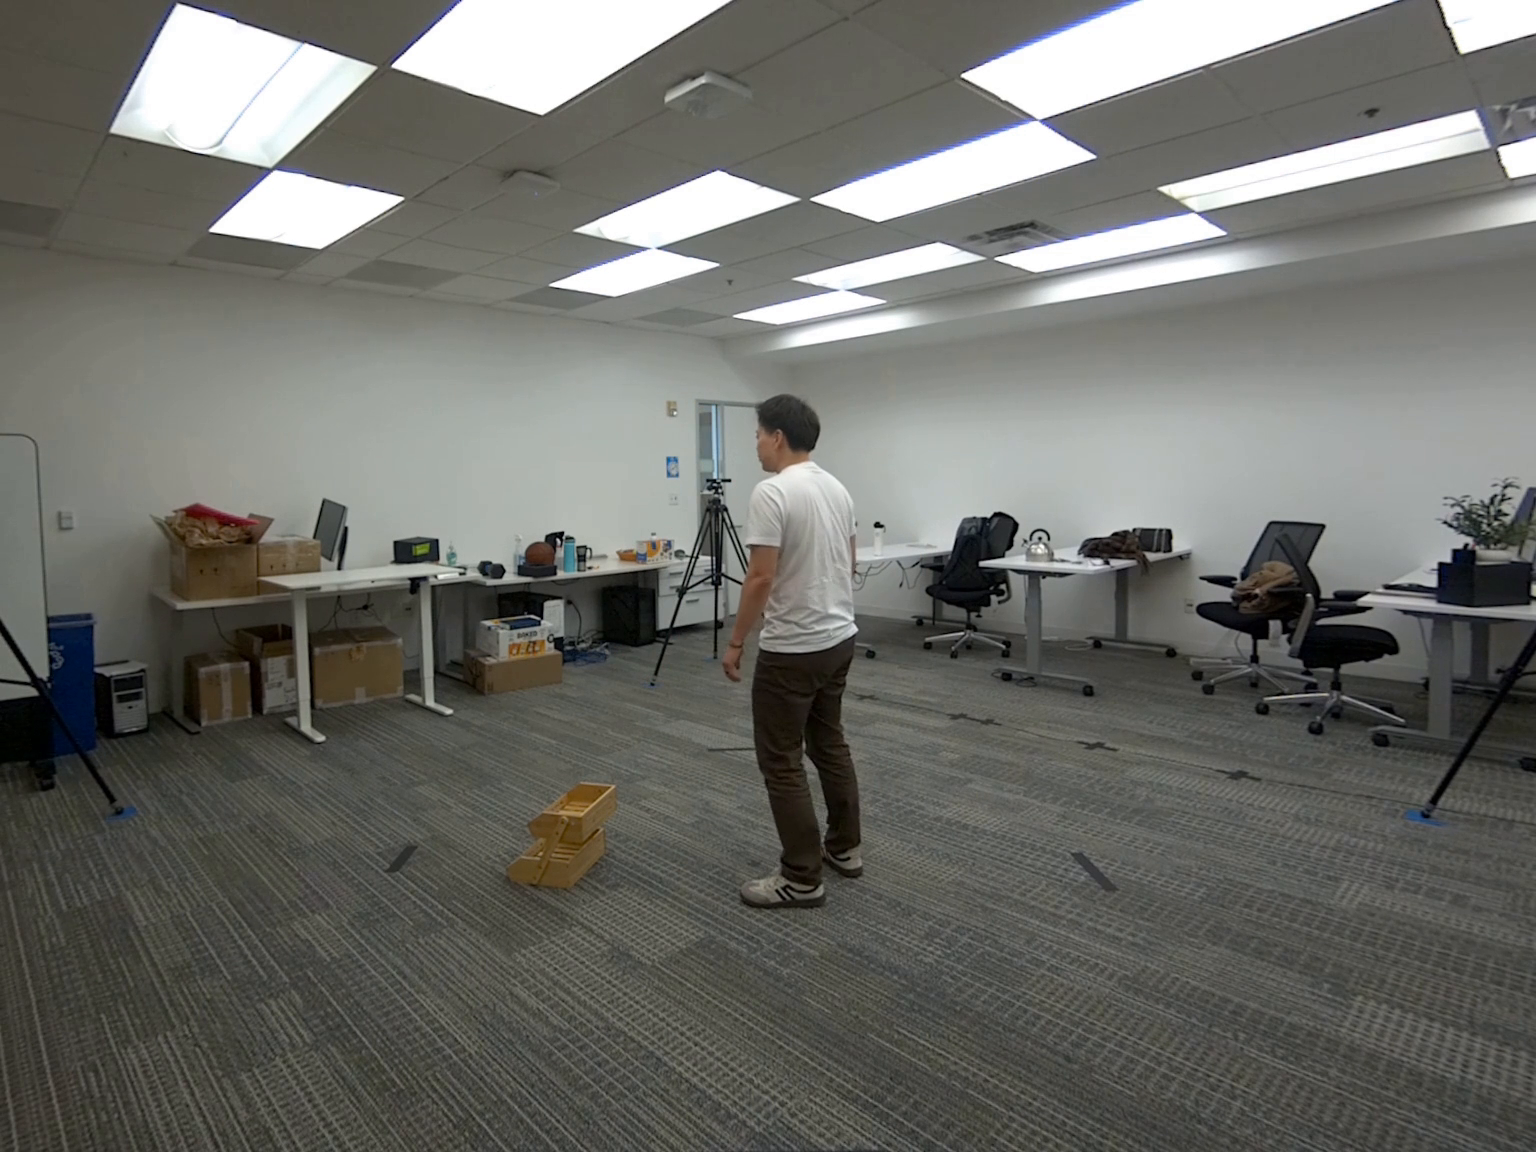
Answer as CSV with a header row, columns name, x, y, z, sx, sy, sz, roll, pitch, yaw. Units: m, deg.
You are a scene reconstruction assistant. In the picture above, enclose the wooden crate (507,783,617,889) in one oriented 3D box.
name,x,y,z,sx,sy,sz,roll,pitch,yaw
wooden crate,-0.745,0.927,3.099,0.306,0.272,0.321,0,6,15
